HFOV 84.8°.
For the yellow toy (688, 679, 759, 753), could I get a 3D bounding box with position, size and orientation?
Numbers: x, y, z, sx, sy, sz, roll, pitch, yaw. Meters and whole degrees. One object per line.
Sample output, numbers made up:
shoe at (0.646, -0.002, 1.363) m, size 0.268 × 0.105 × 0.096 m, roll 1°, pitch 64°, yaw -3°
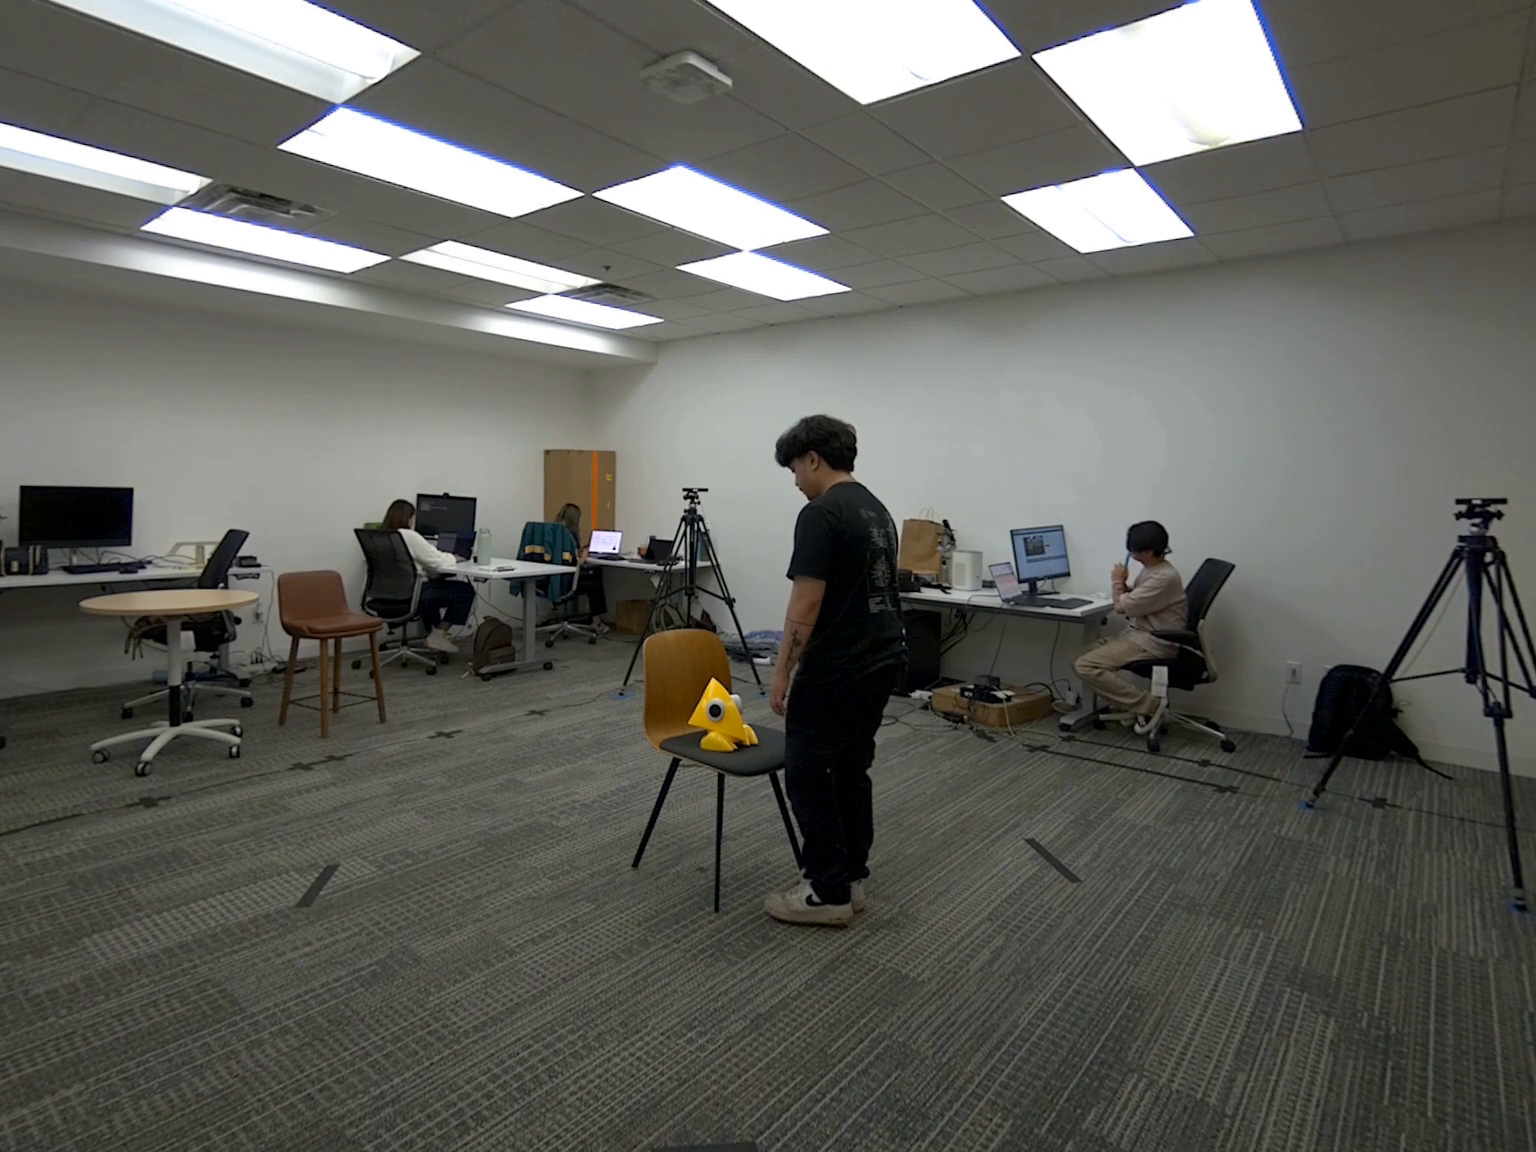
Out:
yellow toy at (-0.168, 0.486, 3.043) m, size 0.198 × 0.231 × 0.199 m, roll -1°, pitch 0°, yaw -44°
